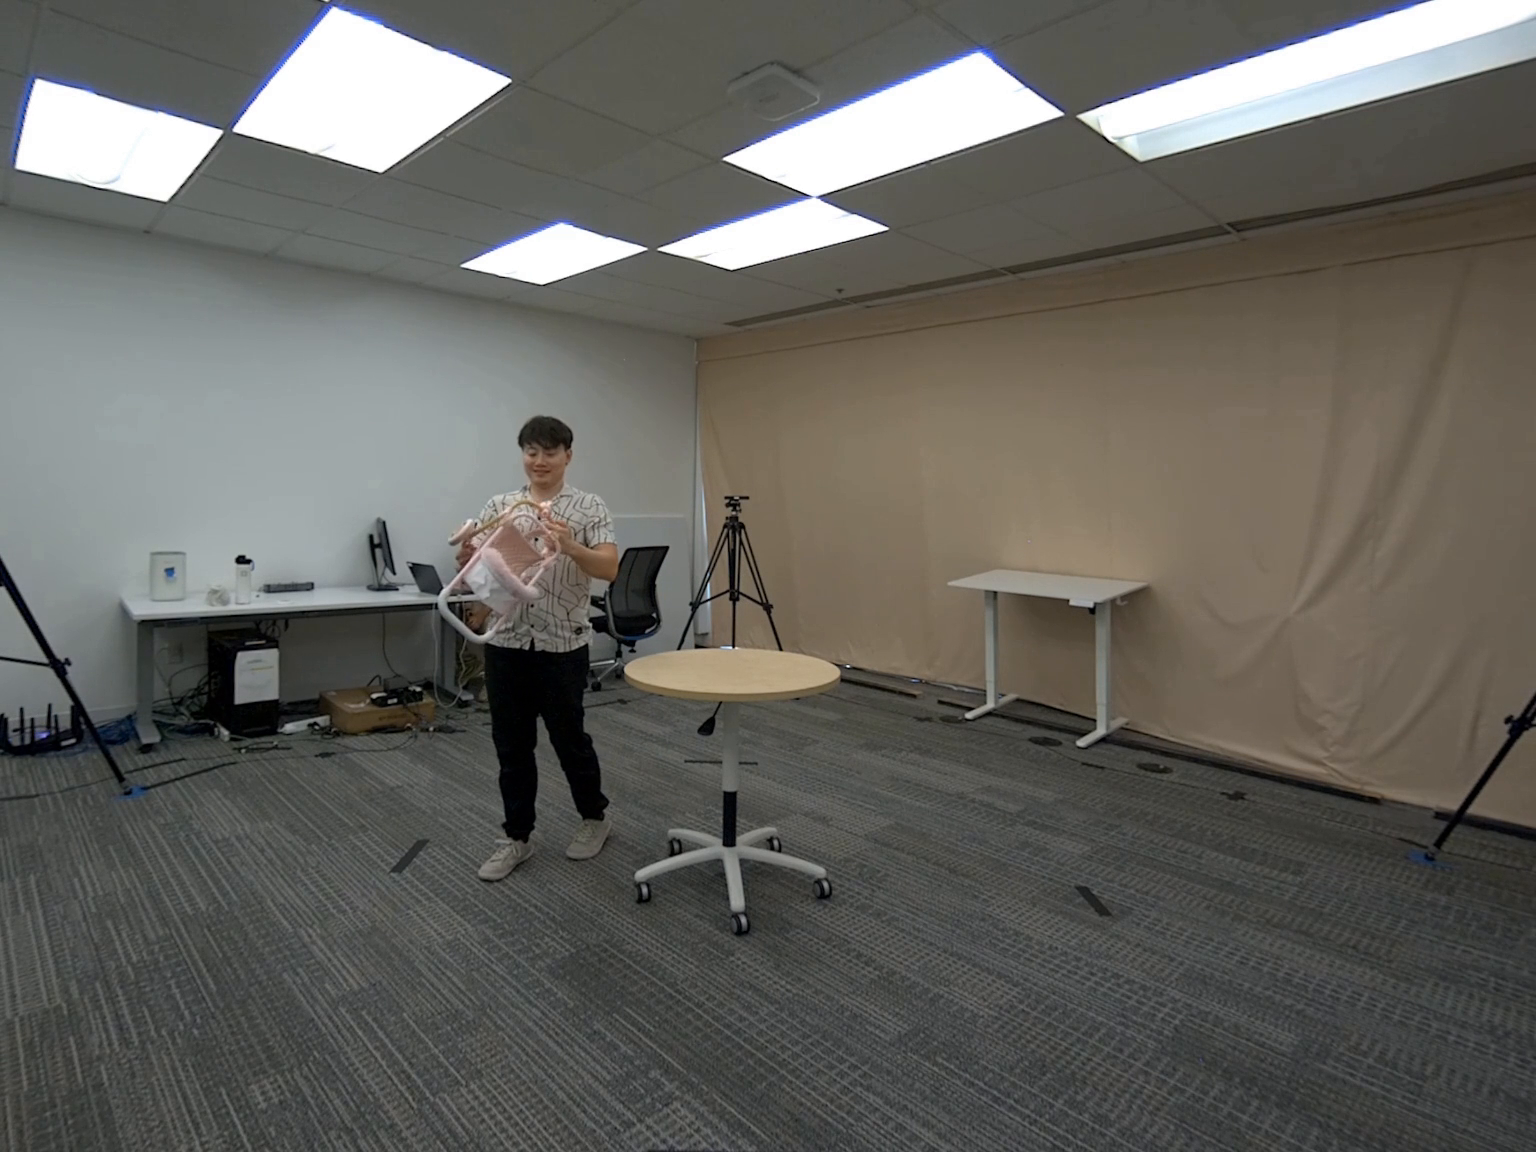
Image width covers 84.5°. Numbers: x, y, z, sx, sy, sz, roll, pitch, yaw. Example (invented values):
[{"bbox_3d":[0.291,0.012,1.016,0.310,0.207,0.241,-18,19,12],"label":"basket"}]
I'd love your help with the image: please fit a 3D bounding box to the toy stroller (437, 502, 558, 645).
[{"bbox_3d":[-0.831,-0.050,2.671,0.342,0.274,0.547,-34,26,5],"label":"toy stroller"}]
